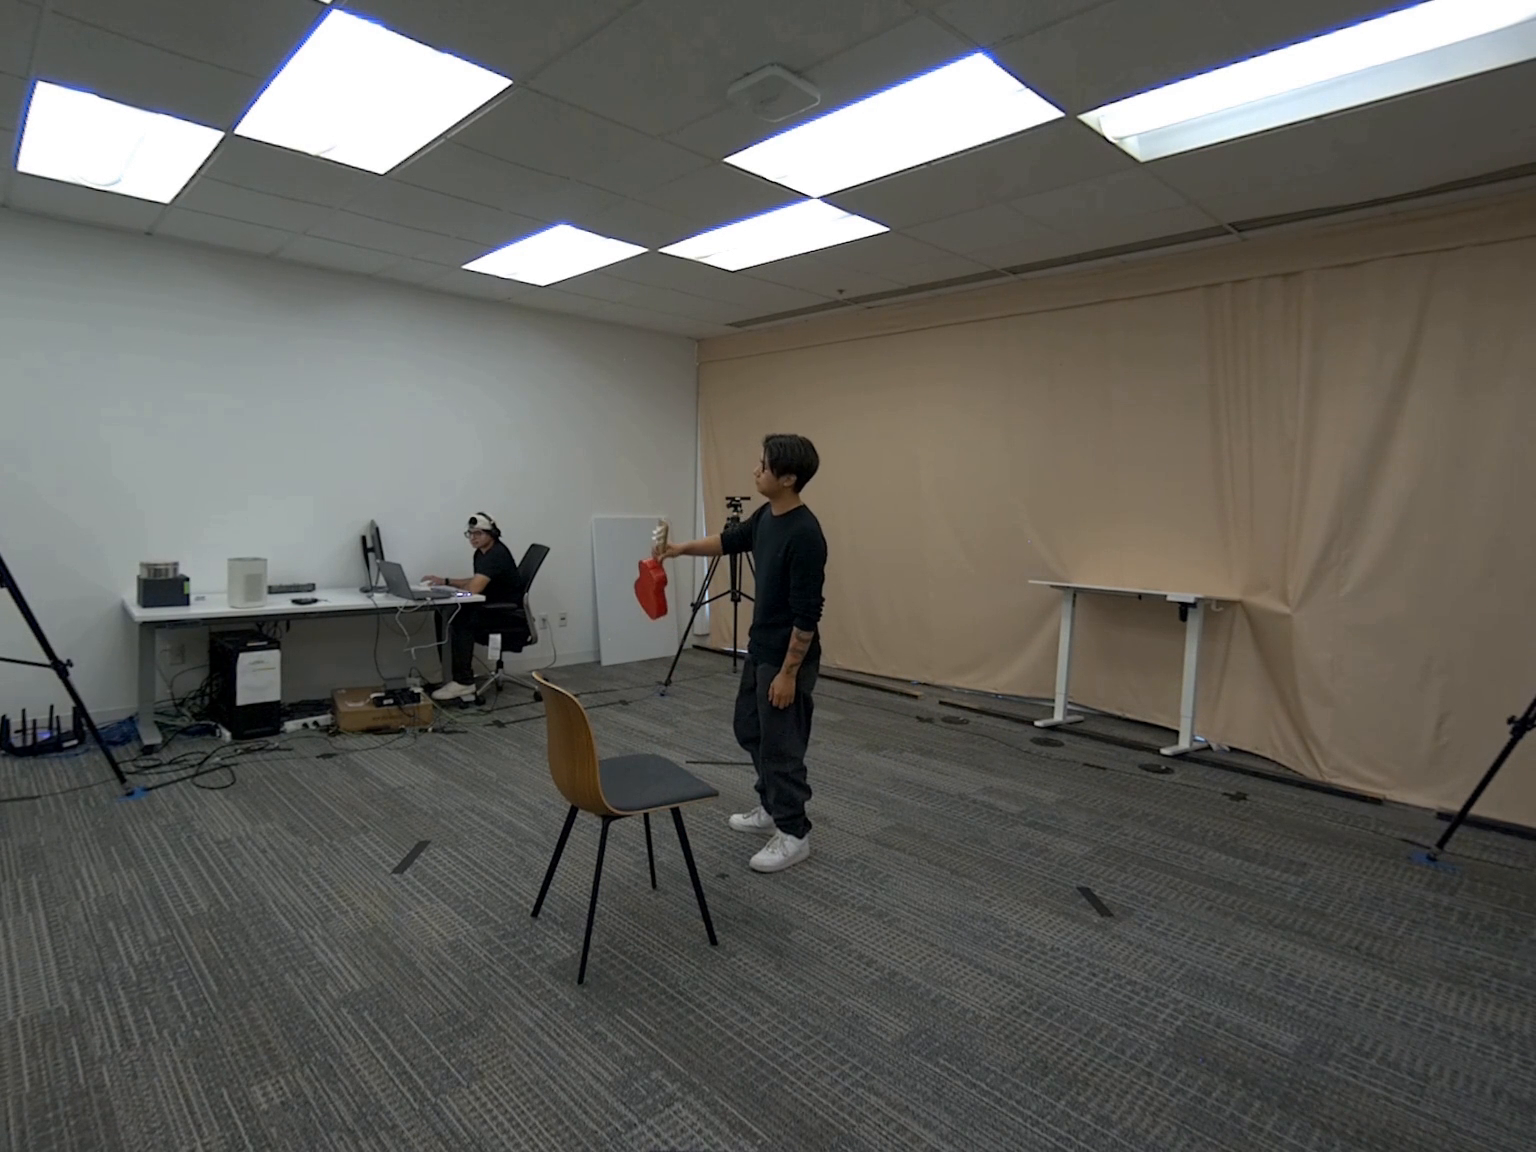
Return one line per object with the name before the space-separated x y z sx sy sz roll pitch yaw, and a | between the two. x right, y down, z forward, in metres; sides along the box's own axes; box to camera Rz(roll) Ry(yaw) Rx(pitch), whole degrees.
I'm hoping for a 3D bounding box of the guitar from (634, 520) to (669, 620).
guitar | -0.481 -0.052 3.448 0.070 0.488 0.199 -18 42 -29
